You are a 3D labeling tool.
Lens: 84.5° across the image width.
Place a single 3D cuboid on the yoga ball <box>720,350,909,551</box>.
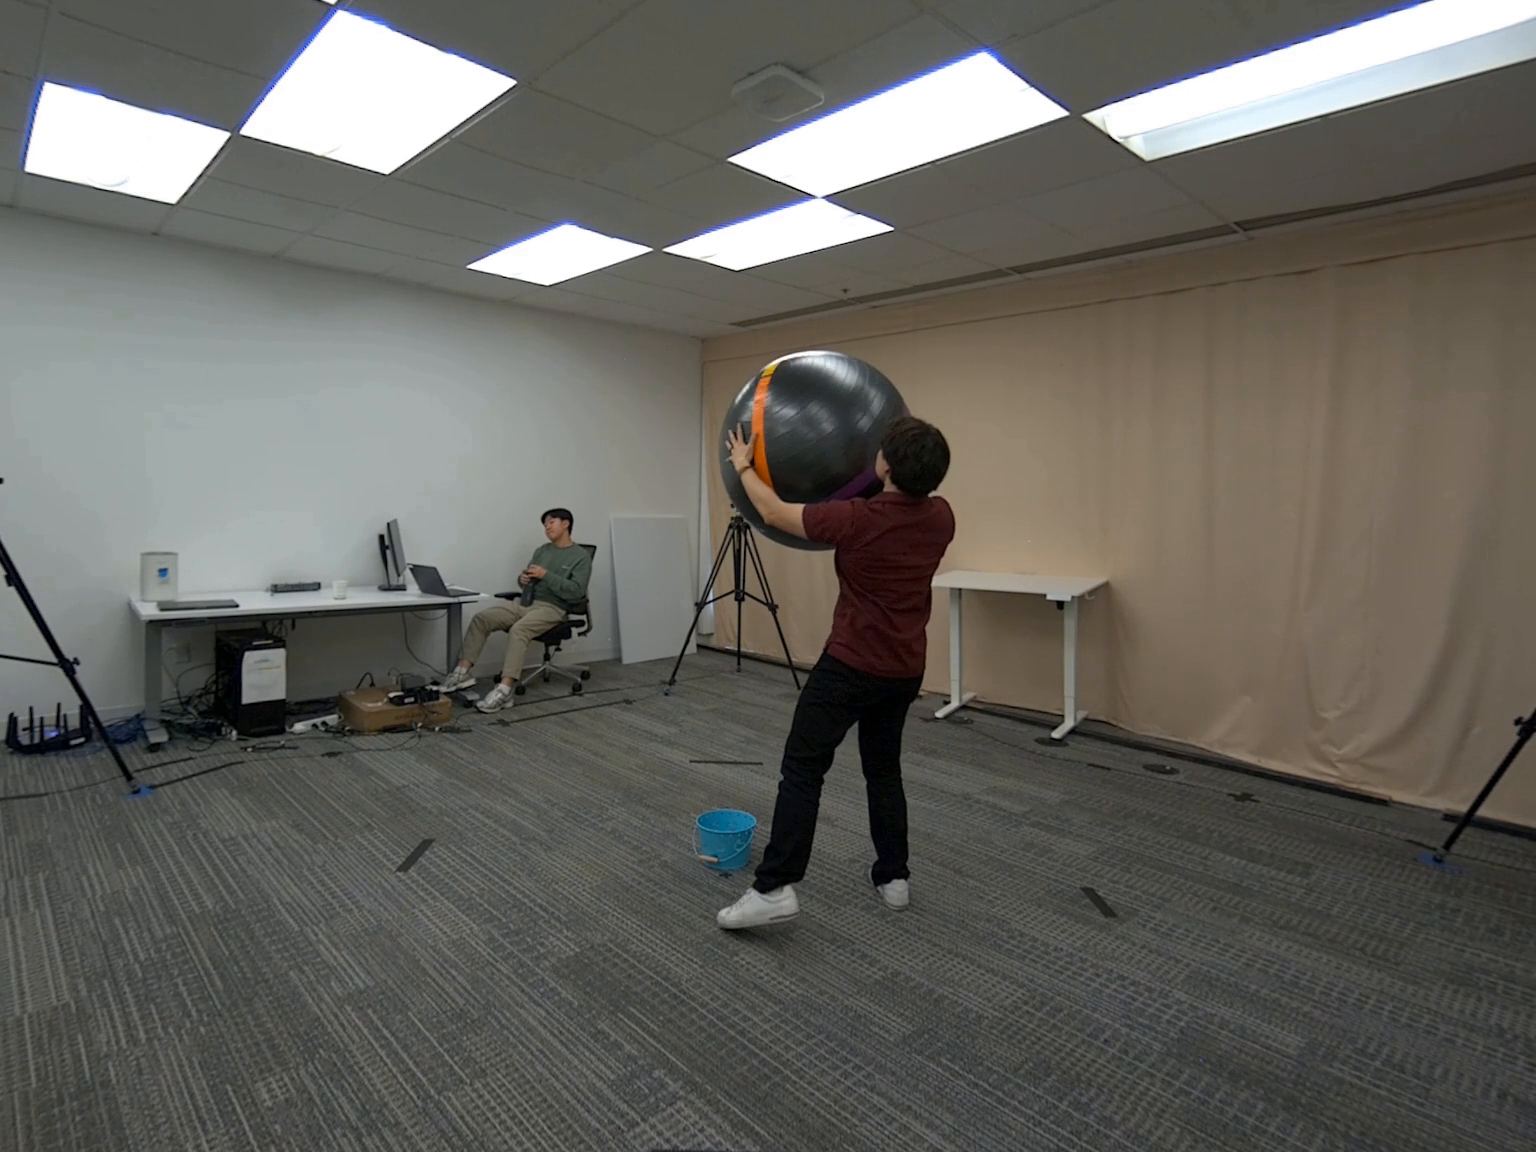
[{"bbox_3d":[0.181,-0.473,3.235,0.757,0.756,0.761,1,4,-1],"label":"yoga ball"}]
